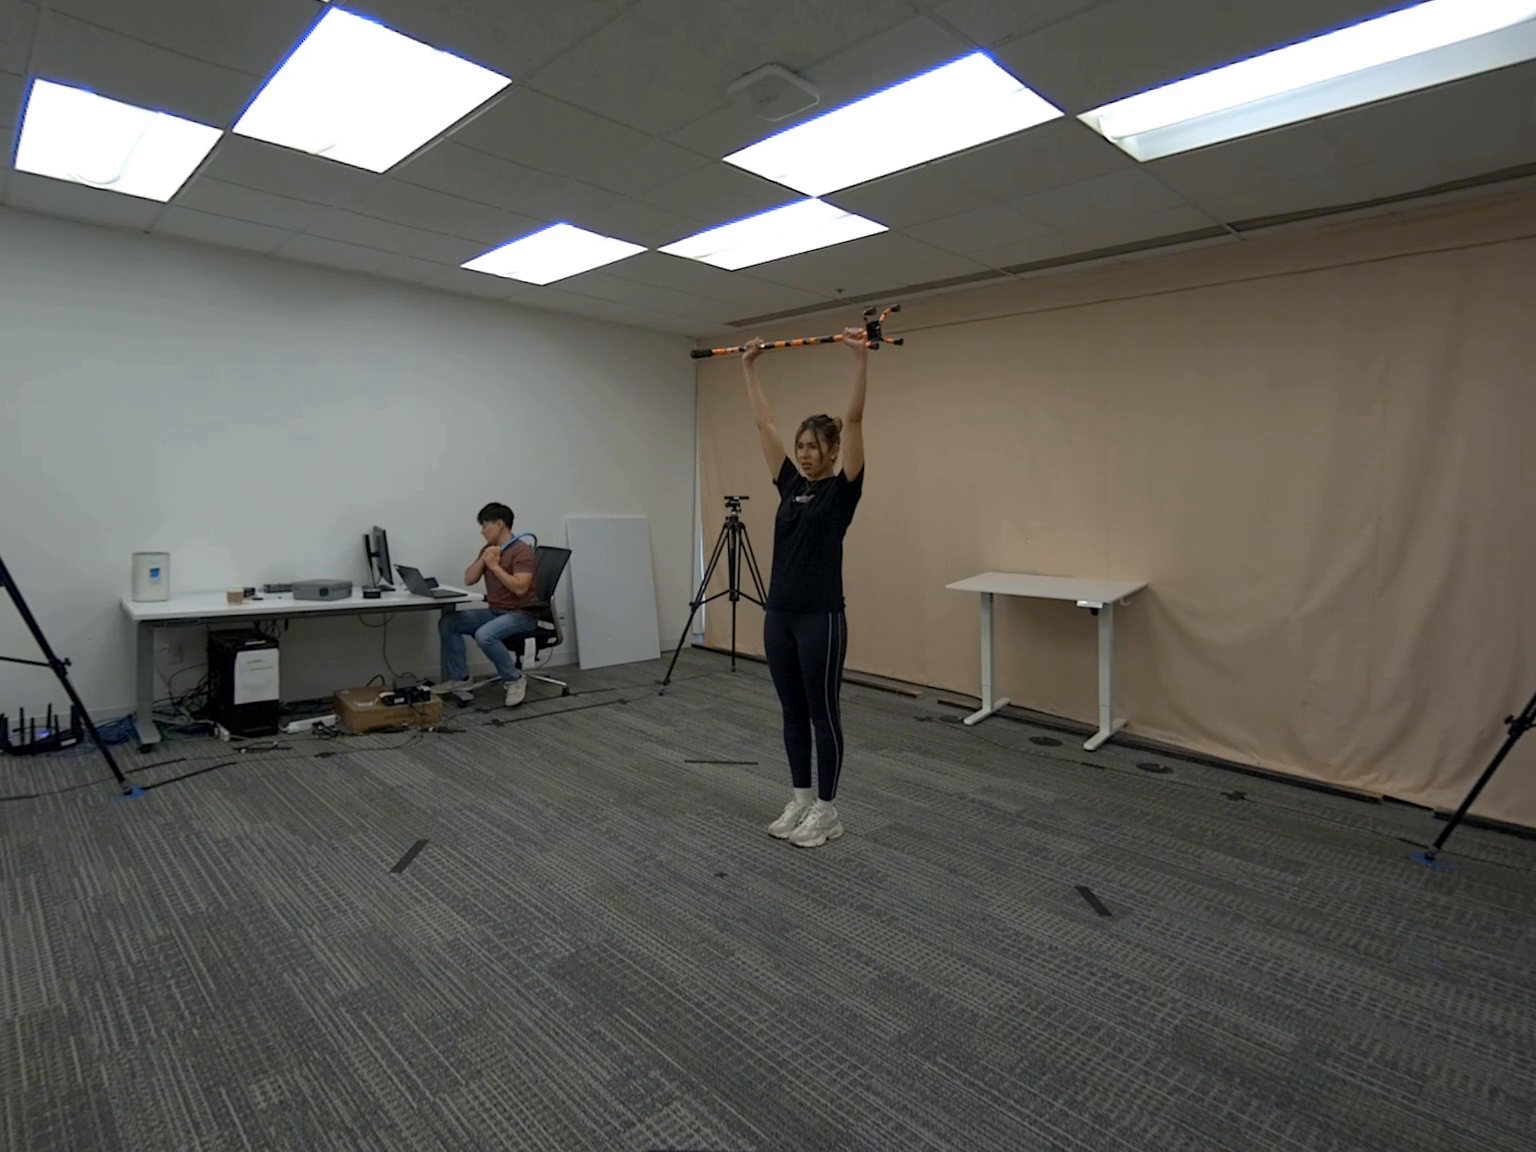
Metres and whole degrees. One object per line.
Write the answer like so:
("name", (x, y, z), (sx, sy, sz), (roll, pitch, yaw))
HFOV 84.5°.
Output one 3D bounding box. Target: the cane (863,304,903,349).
("cane", (0.083, -0.949, 3.371), (0.931, 0.150, 0.203), (6, 18, 40))
